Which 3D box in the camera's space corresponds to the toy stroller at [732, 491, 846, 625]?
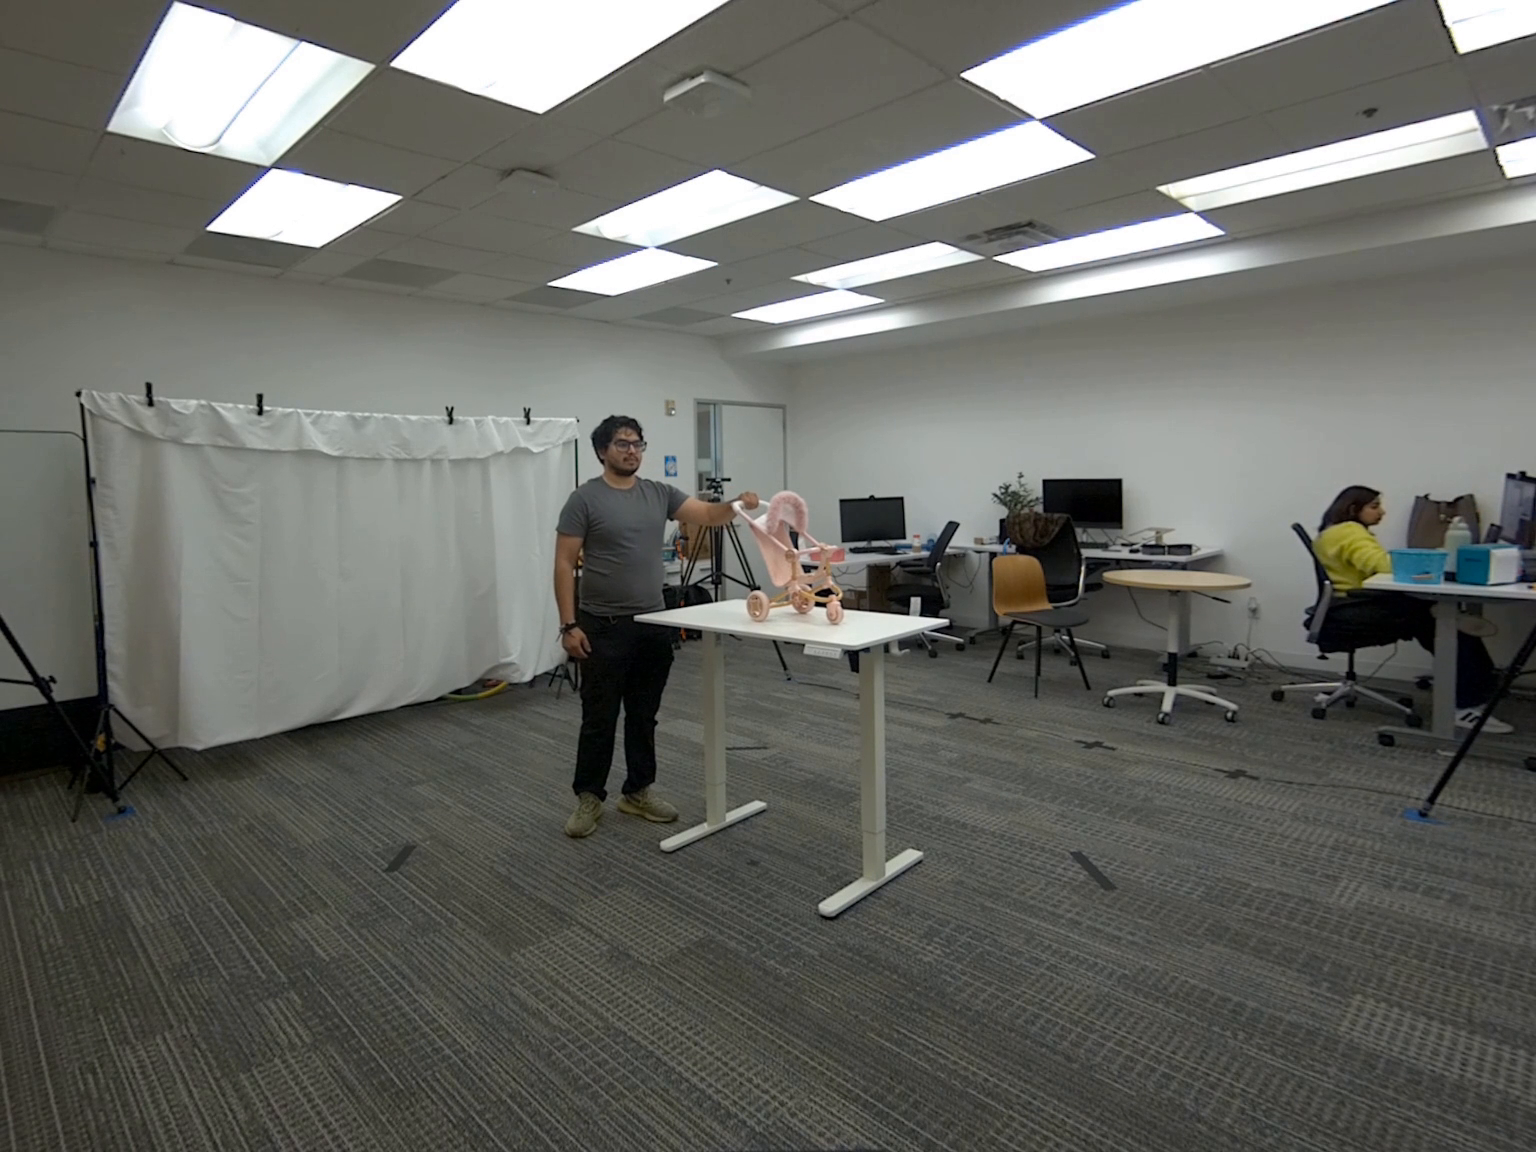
[{"bbox_3d":[0.092,-0.067,3.087,0.274,0.540,0.347,-5,-10,-41],"label":"toy stroller"}]
